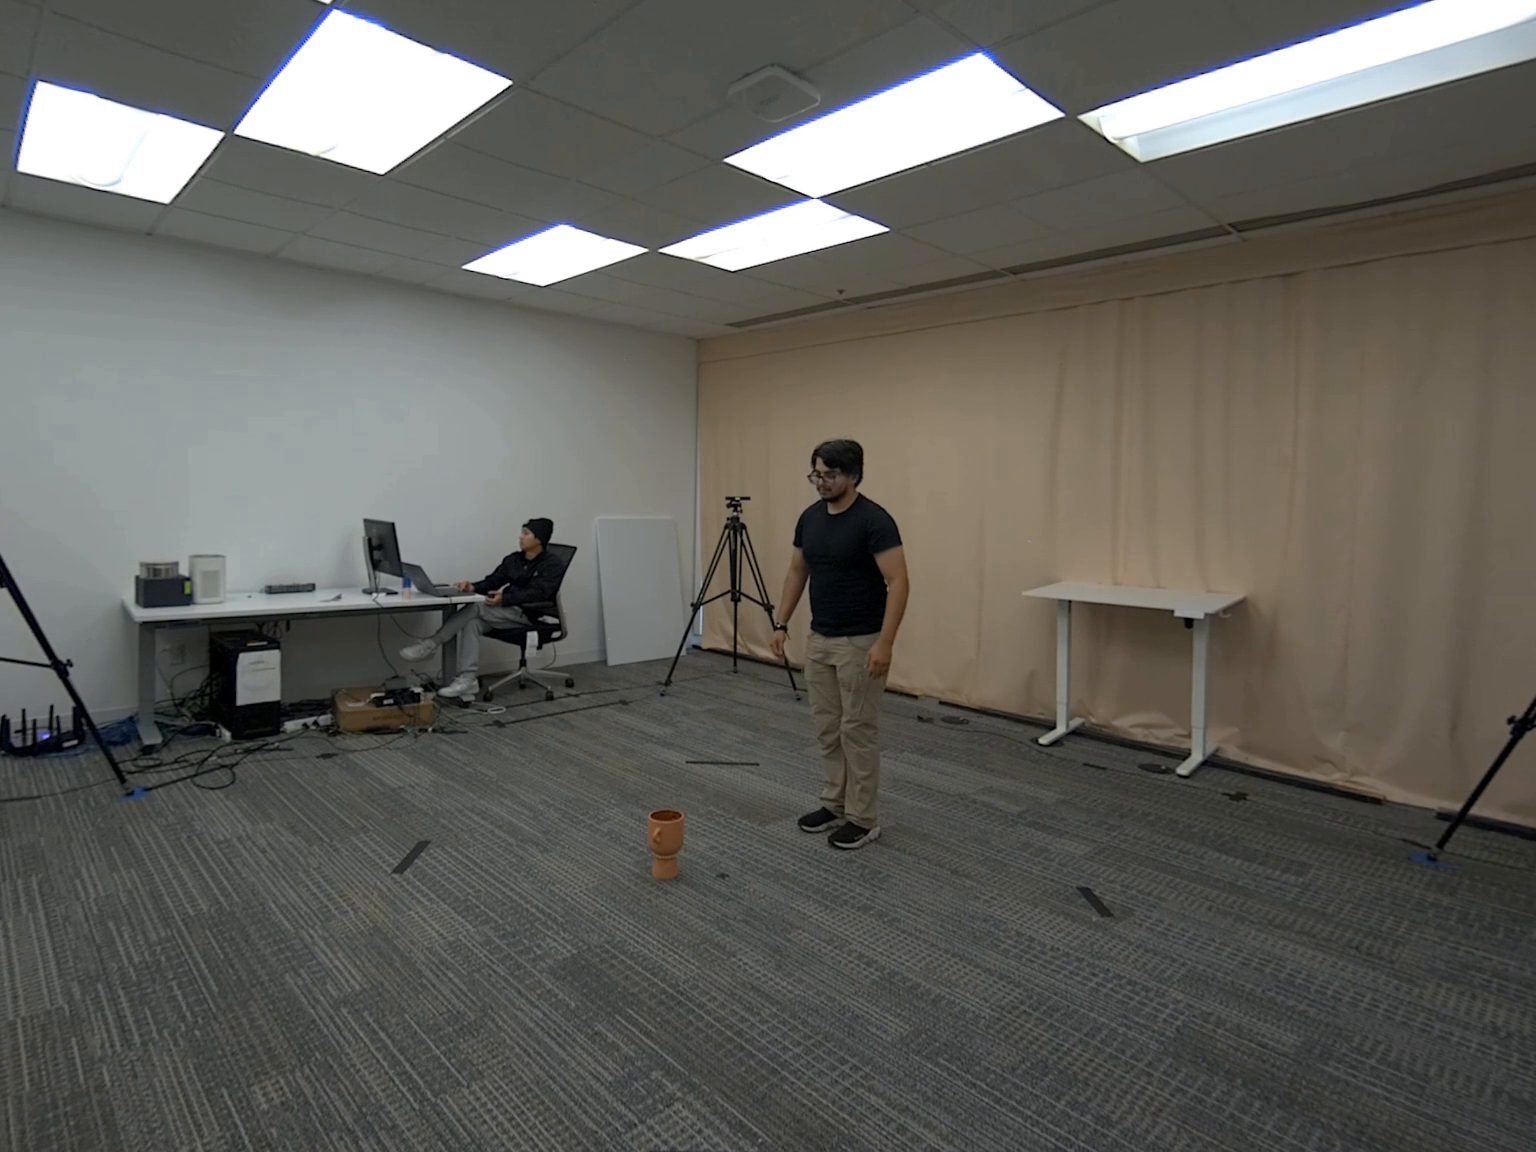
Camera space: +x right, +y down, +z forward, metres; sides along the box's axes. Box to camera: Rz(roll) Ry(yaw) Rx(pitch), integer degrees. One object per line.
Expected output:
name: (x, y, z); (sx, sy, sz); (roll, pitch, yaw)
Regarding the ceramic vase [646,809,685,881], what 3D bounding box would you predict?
ceramic vase: (-0.387, 0.990, 3.101); (0.155, 0.219, 0.138); (-1, 4, -32)
